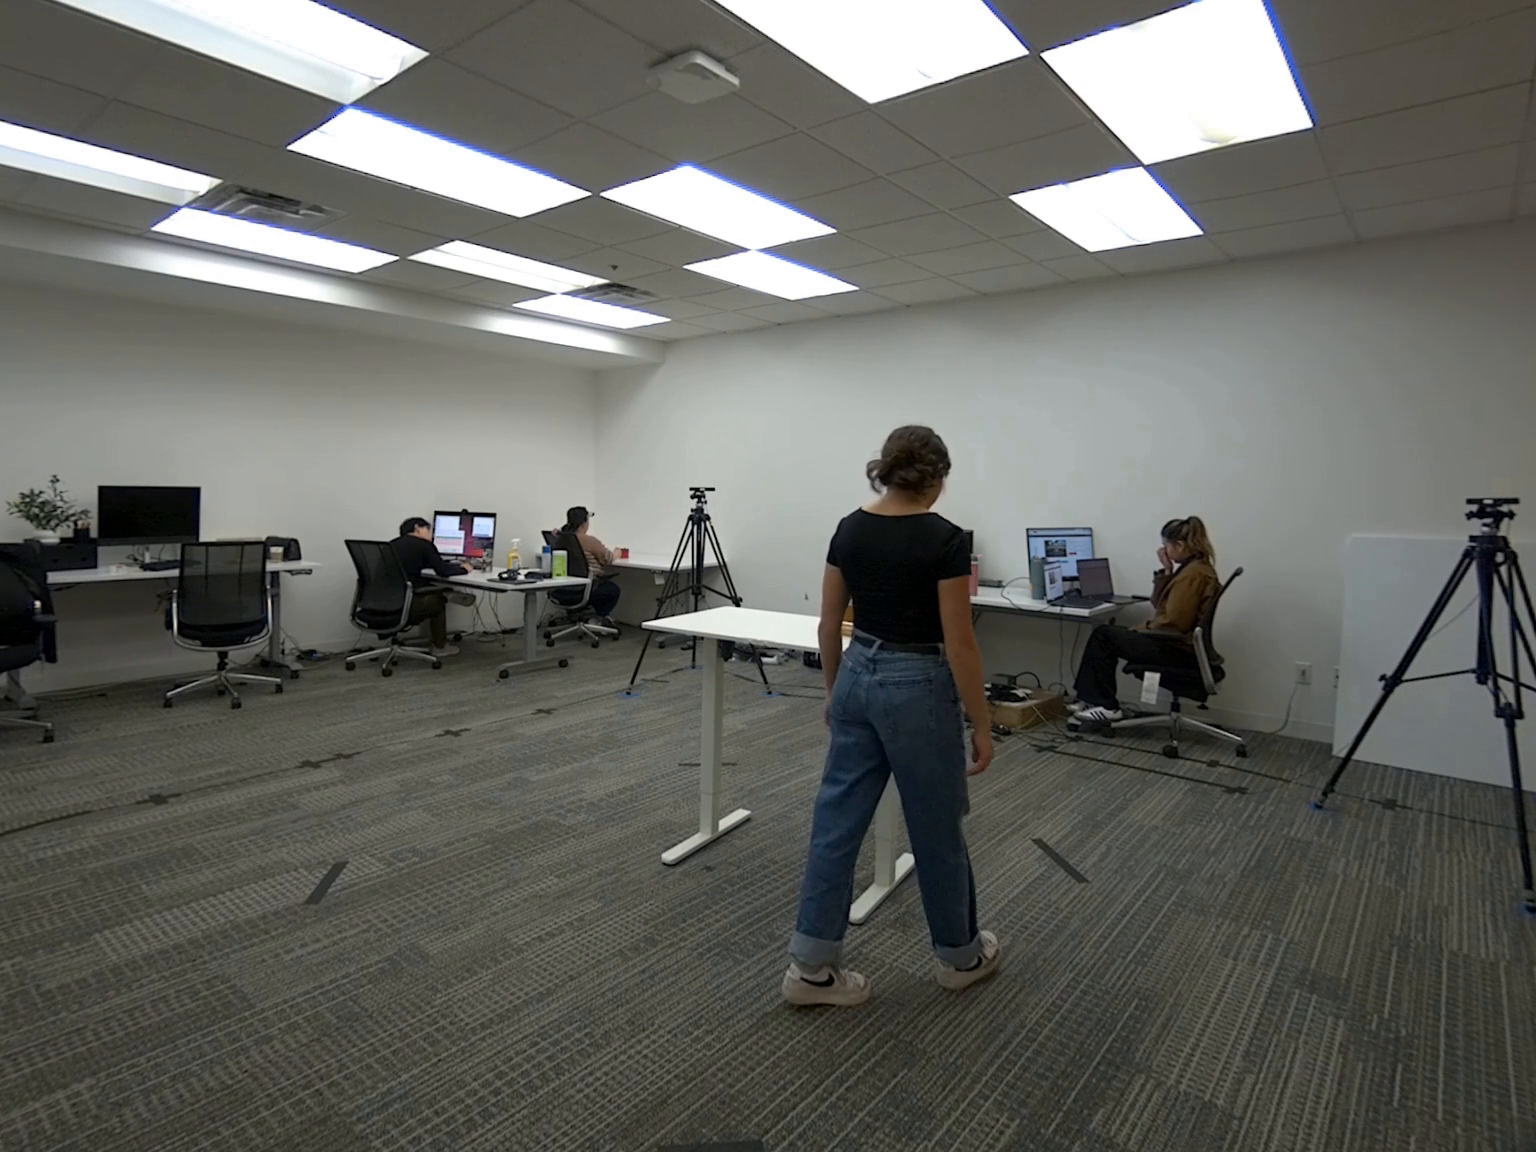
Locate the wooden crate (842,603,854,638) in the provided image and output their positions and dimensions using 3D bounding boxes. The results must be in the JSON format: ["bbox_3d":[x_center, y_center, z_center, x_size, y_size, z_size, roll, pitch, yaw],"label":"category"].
[{"bbox_3d":[0.406,0.075,3.022,0.292,0.272,0.336,-1,6,-43],"label":"wooden crate"}]
